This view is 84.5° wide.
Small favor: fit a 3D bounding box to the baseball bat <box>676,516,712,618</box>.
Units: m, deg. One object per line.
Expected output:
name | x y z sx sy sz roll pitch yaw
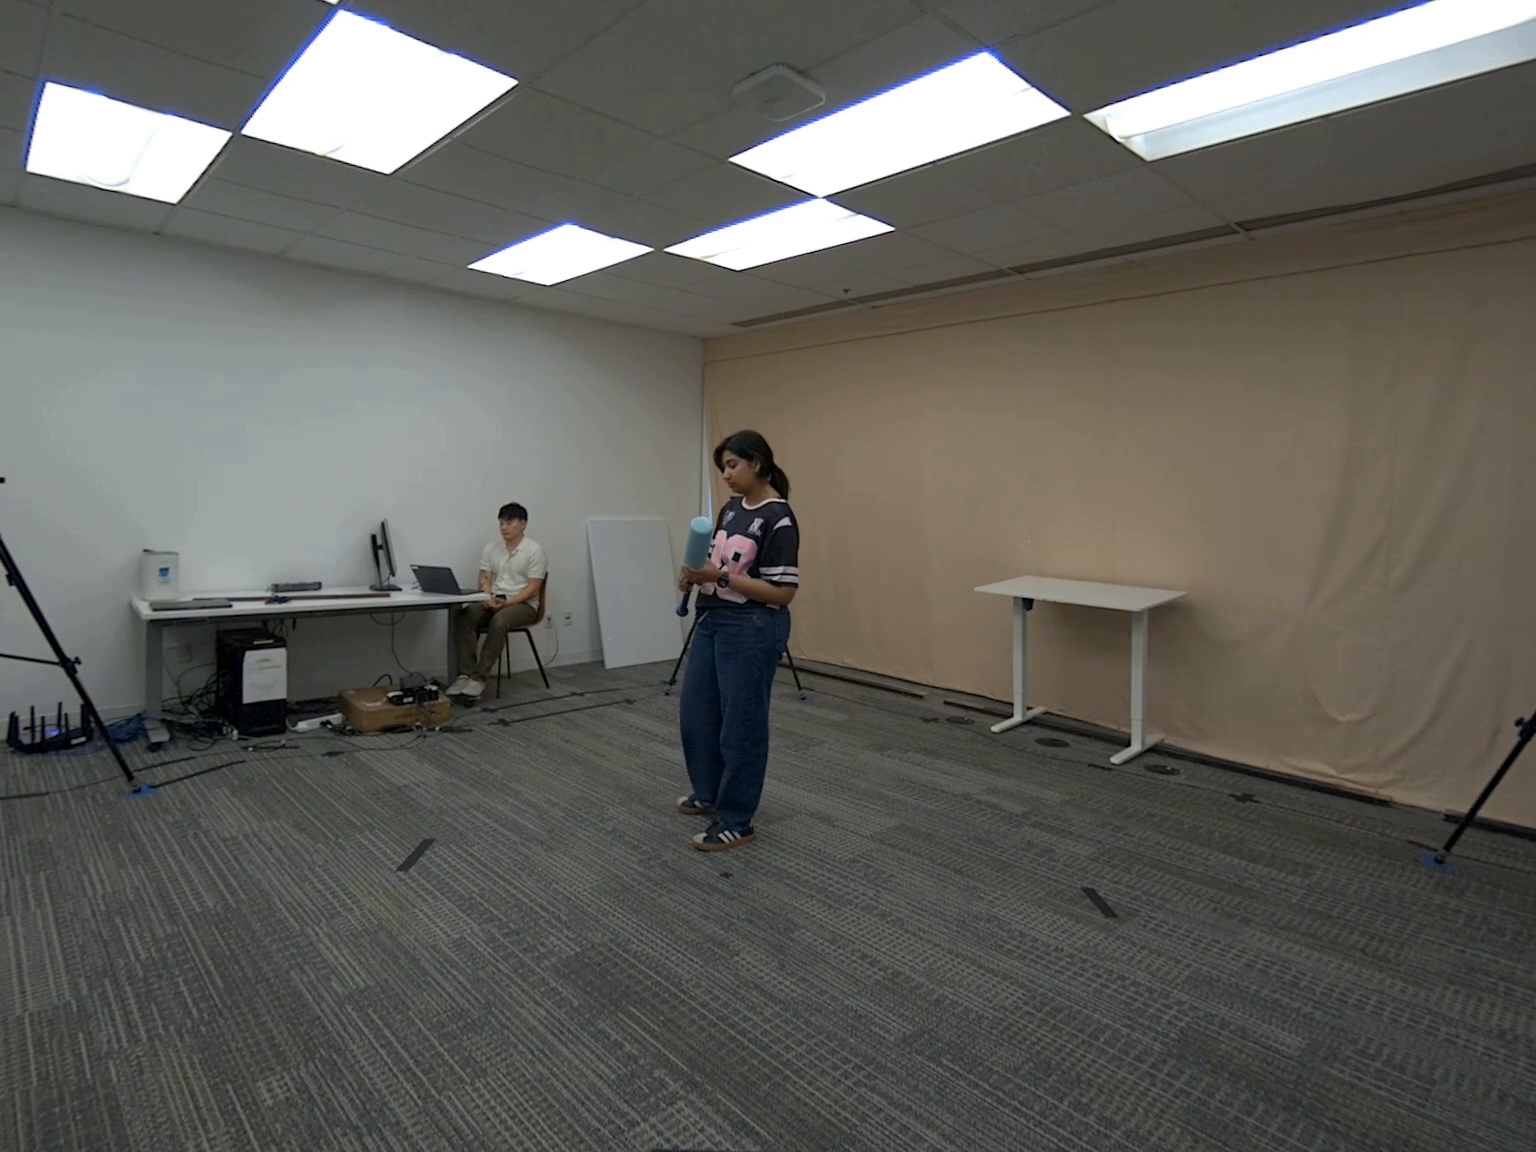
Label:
baseball bat | -0.282 -0.013 3.146 0.088 0.091 0.534 1 -39 -11
